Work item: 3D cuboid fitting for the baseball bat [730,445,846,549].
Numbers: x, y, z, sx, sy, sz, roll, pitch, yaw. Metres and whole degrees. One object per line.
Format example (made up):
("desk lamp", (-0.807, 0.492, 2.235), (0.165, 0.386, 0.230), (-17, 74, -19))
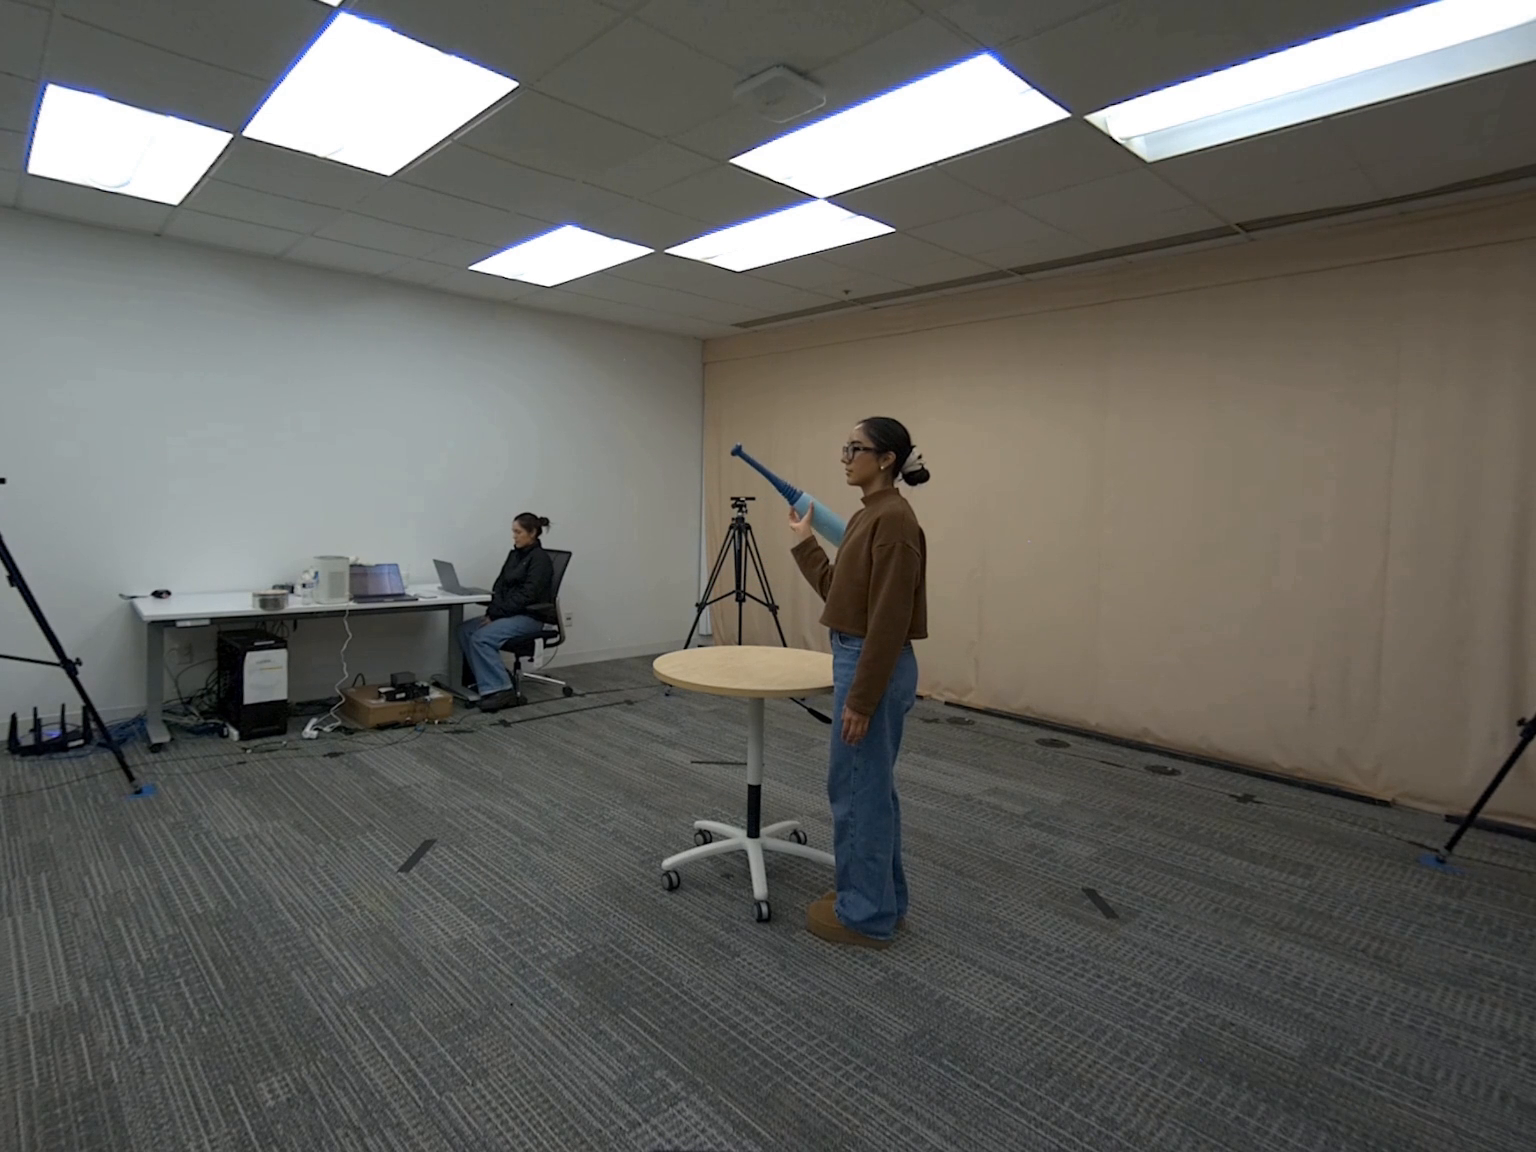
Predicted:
("baseball bat", (0.079, -0.284, 2.981), (0.541, 0.089, 0.089), (40, 2, -3))
